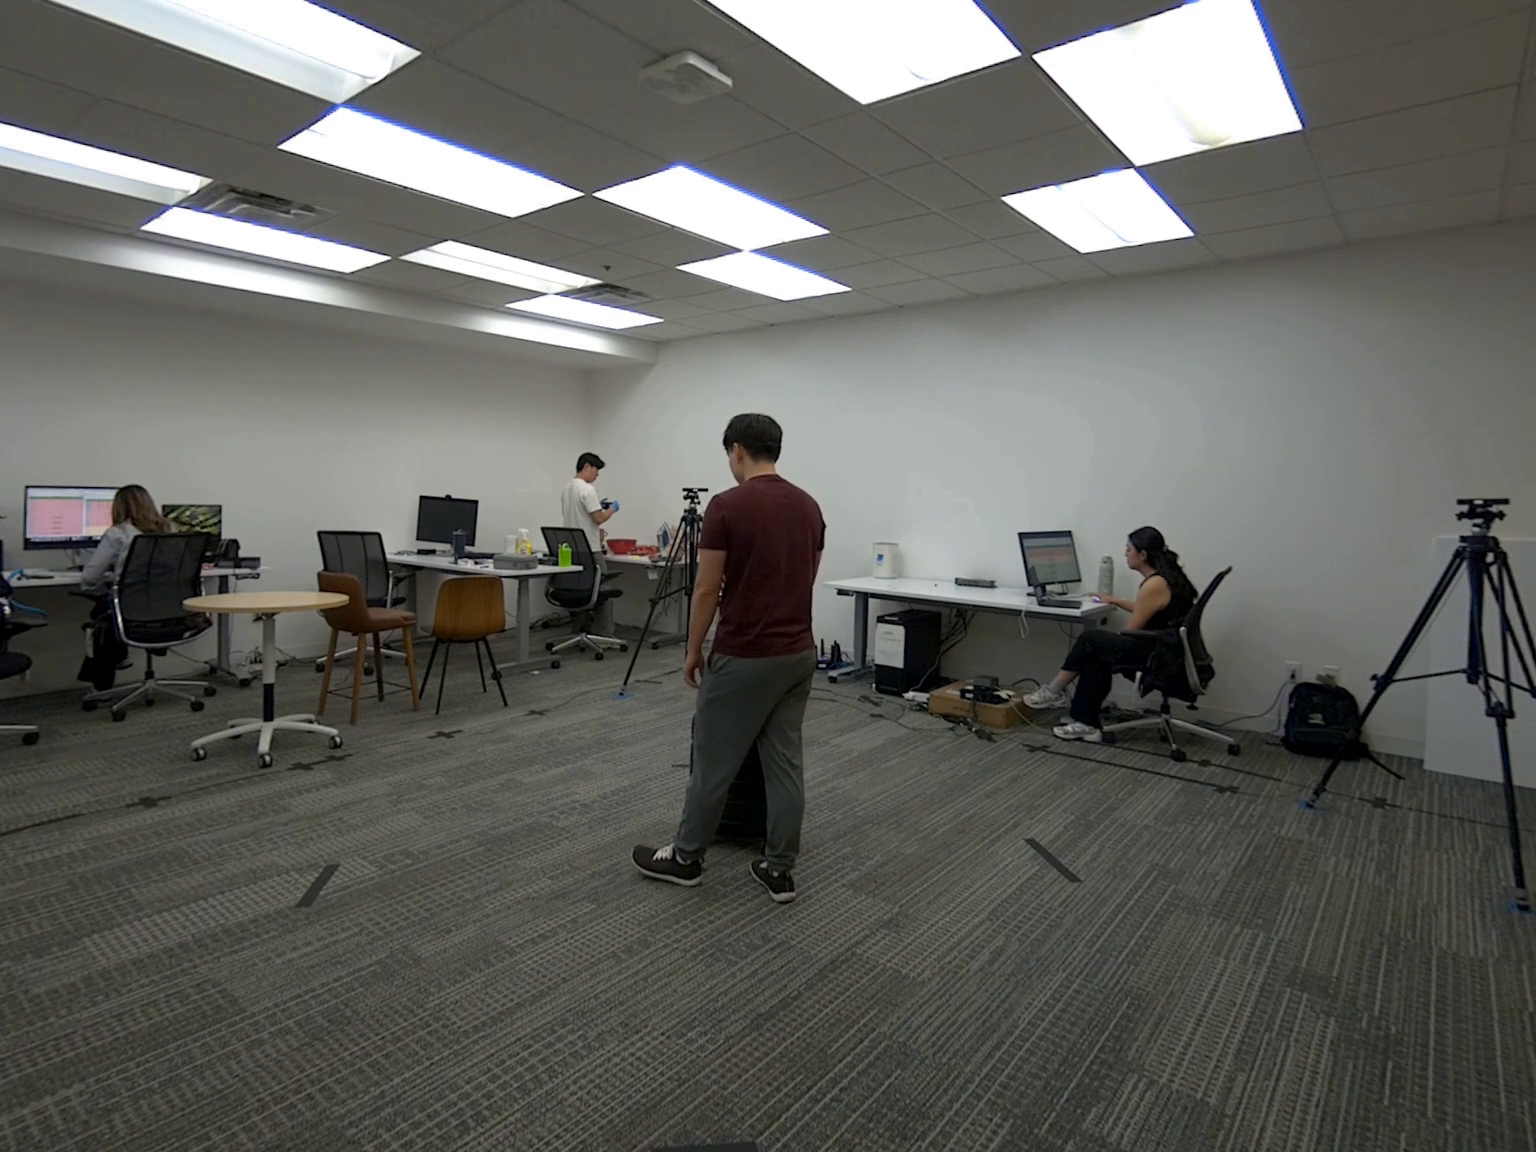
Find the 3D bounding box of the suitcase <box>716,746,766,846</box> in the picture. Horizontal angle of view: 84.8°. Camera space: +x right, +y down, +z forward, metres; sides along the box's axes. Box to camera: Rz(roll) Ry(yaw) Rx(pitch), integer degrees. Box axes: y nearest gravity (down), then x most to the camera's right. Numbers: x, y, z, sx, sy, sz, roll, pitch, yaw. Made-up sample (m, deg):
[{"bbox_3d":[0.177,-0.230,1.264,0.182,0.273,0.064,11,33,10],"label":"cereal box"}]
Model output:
[{"bbox_3d":[-0.124,0.565,3.395,0.390,0.979,0.253,0,-1,15],"label":"suitcase"}]
